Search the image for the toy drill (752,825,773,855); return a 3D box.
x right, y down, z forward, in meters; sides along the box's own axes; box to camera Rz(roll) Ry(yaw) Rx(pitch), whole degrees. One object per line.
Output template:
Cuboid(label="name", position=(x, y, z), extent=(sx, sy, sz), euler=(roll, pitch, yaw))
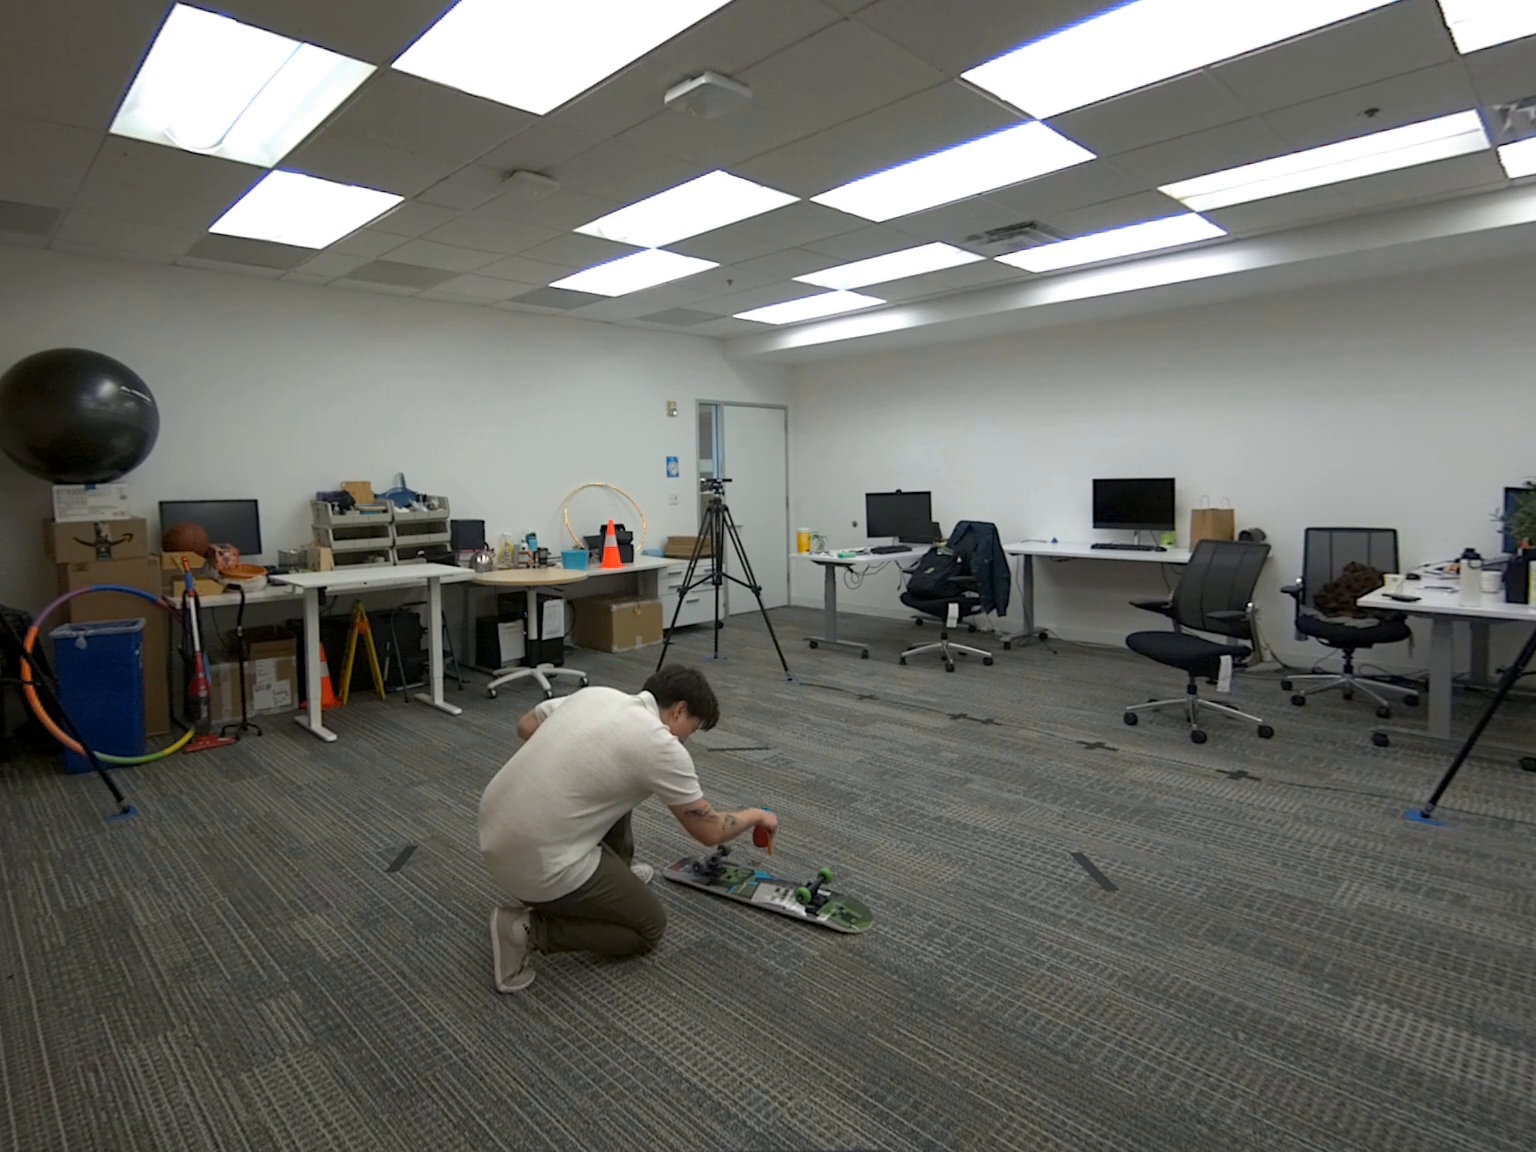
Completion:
Cuboid(label="toy drill", position=(-0.008, 0.851, 2.786), extent=(0.062, 0.168, 0.146), euler=(-1, 12, 10))
